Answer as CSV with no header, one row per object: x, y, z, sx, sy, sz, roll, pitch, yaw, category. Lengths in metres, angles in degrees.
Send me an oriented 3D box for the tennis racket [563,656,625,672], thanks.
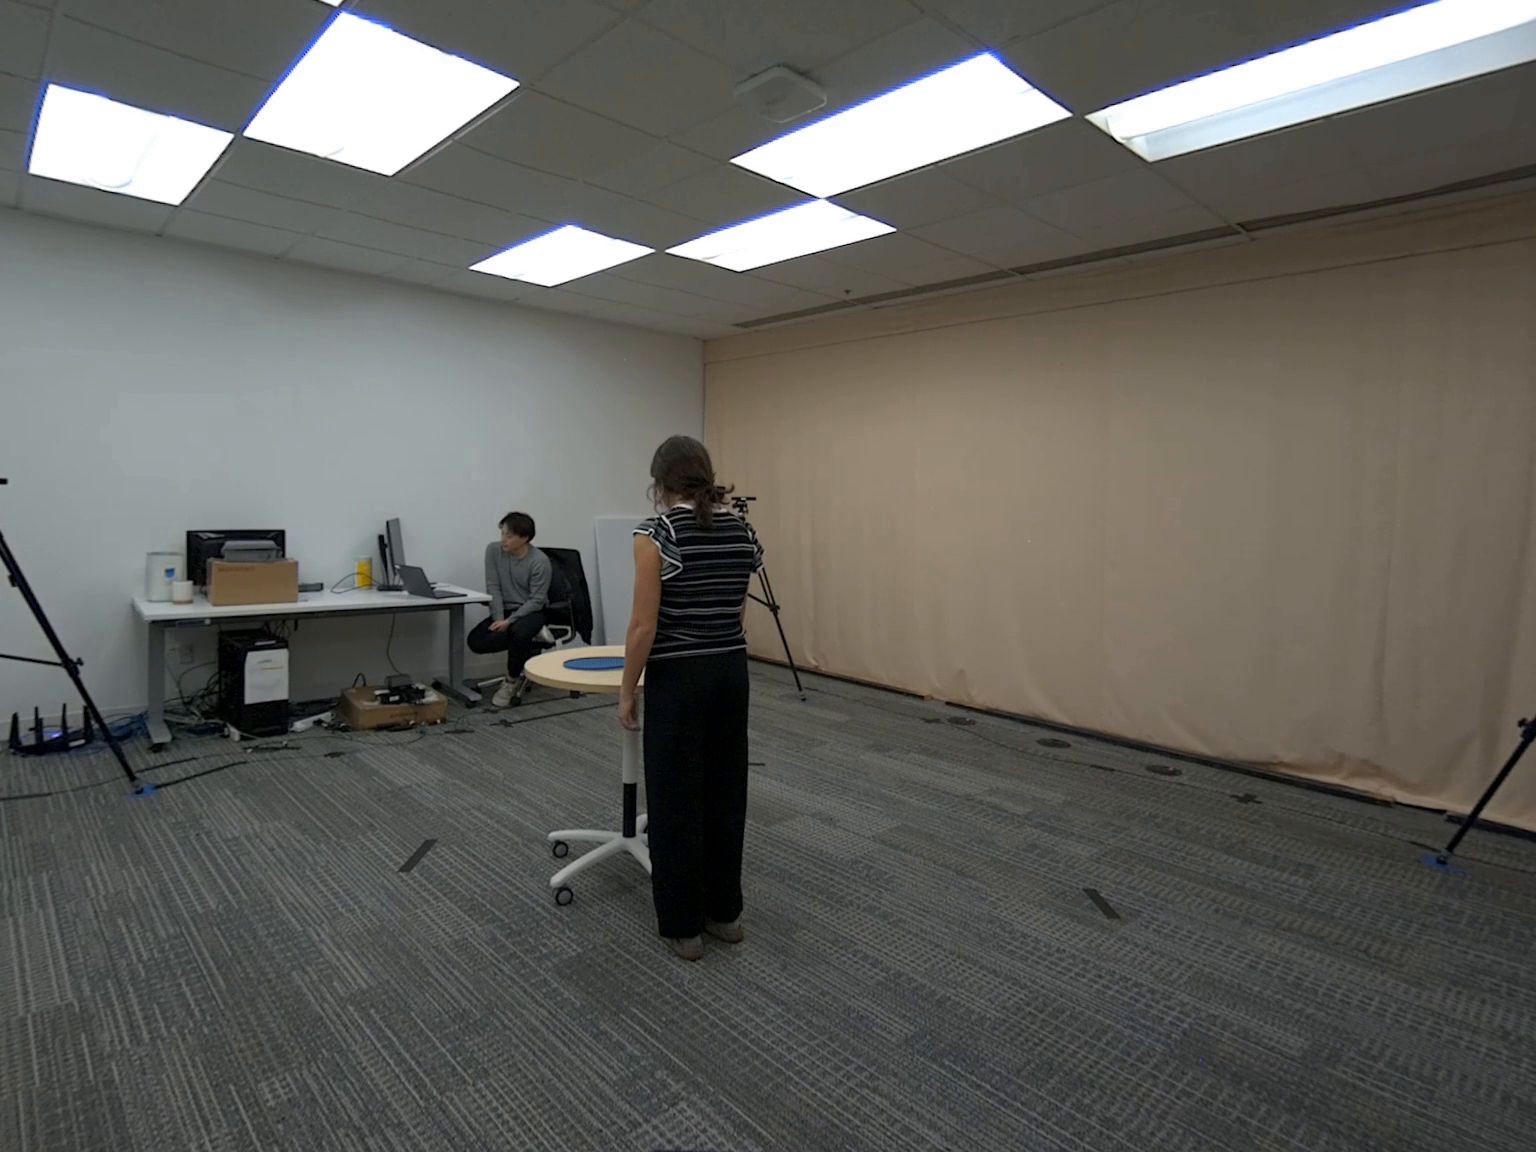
-0.526,0.316,3.024,0.430,0.031,0.216,0,5,-9,tennis racket
